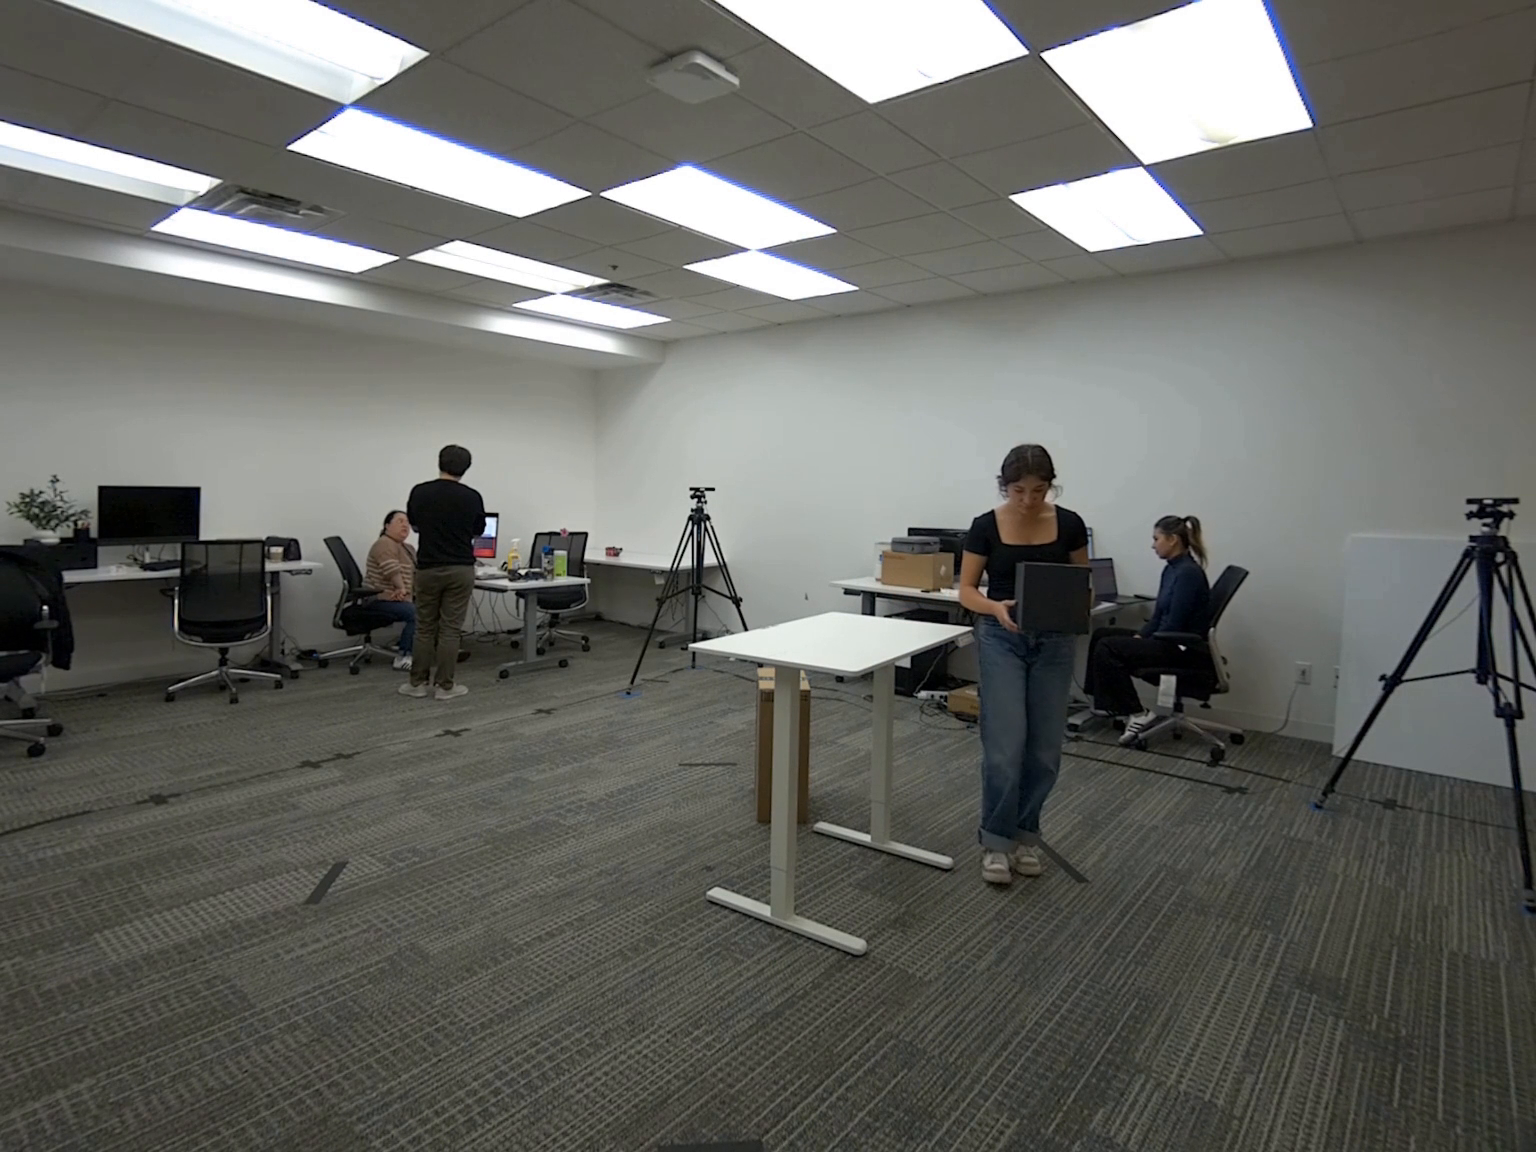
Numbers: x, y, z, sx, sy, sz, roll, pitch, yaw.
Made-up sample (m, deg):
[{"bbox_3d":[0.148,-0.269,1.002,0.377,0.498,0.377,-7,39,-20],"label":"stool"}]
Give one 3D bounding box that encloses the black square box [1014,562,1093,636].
[{"bbox_3d":[0.976,0.065,2.903,0.218,0.228,0.155,3,1,5],"label":"black square box"}]
